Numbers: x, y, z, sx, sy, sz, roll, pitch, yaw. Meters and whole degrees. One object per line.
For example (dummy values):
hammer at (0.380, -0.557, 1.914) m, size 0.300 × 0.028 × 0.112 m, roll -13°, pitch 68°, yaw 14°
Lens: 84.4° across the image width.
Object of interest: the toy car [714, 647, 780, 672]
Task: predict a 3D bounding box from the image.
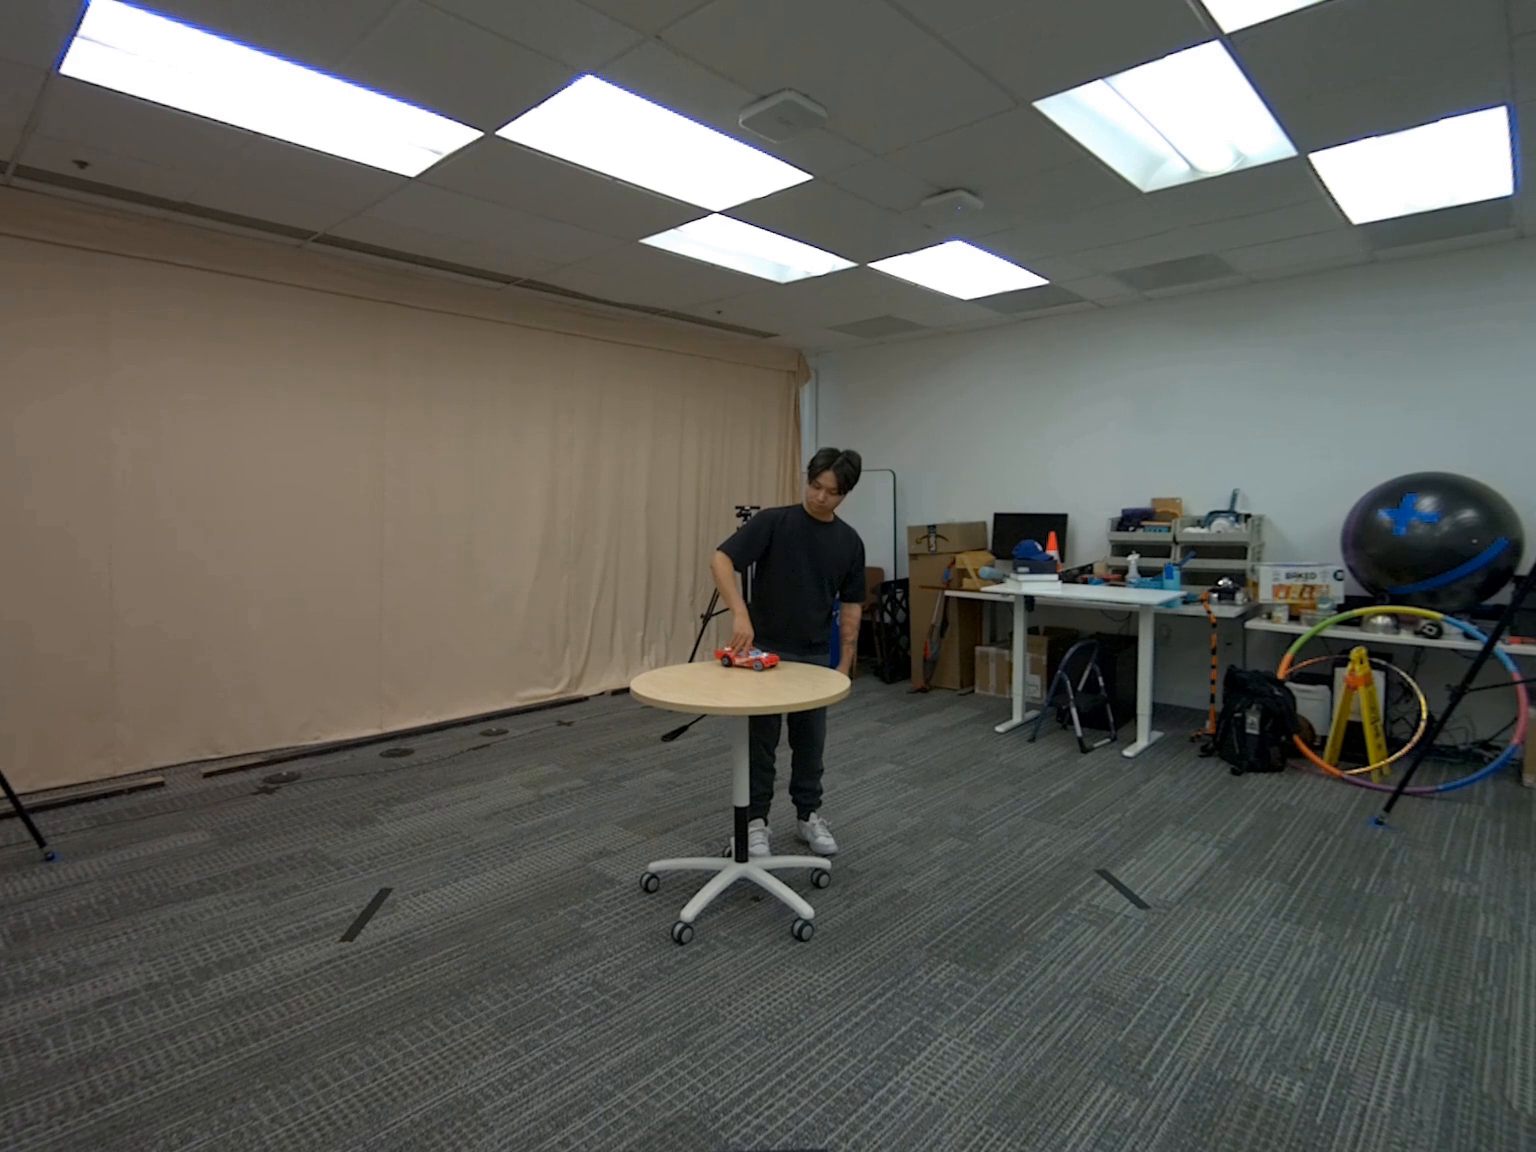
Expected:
toy car at (-0.087, 0.313, 3.186) m, size 0.263 × 0.083 × 0.126 m, roll 17°, pitch 15°, yaw 35°
